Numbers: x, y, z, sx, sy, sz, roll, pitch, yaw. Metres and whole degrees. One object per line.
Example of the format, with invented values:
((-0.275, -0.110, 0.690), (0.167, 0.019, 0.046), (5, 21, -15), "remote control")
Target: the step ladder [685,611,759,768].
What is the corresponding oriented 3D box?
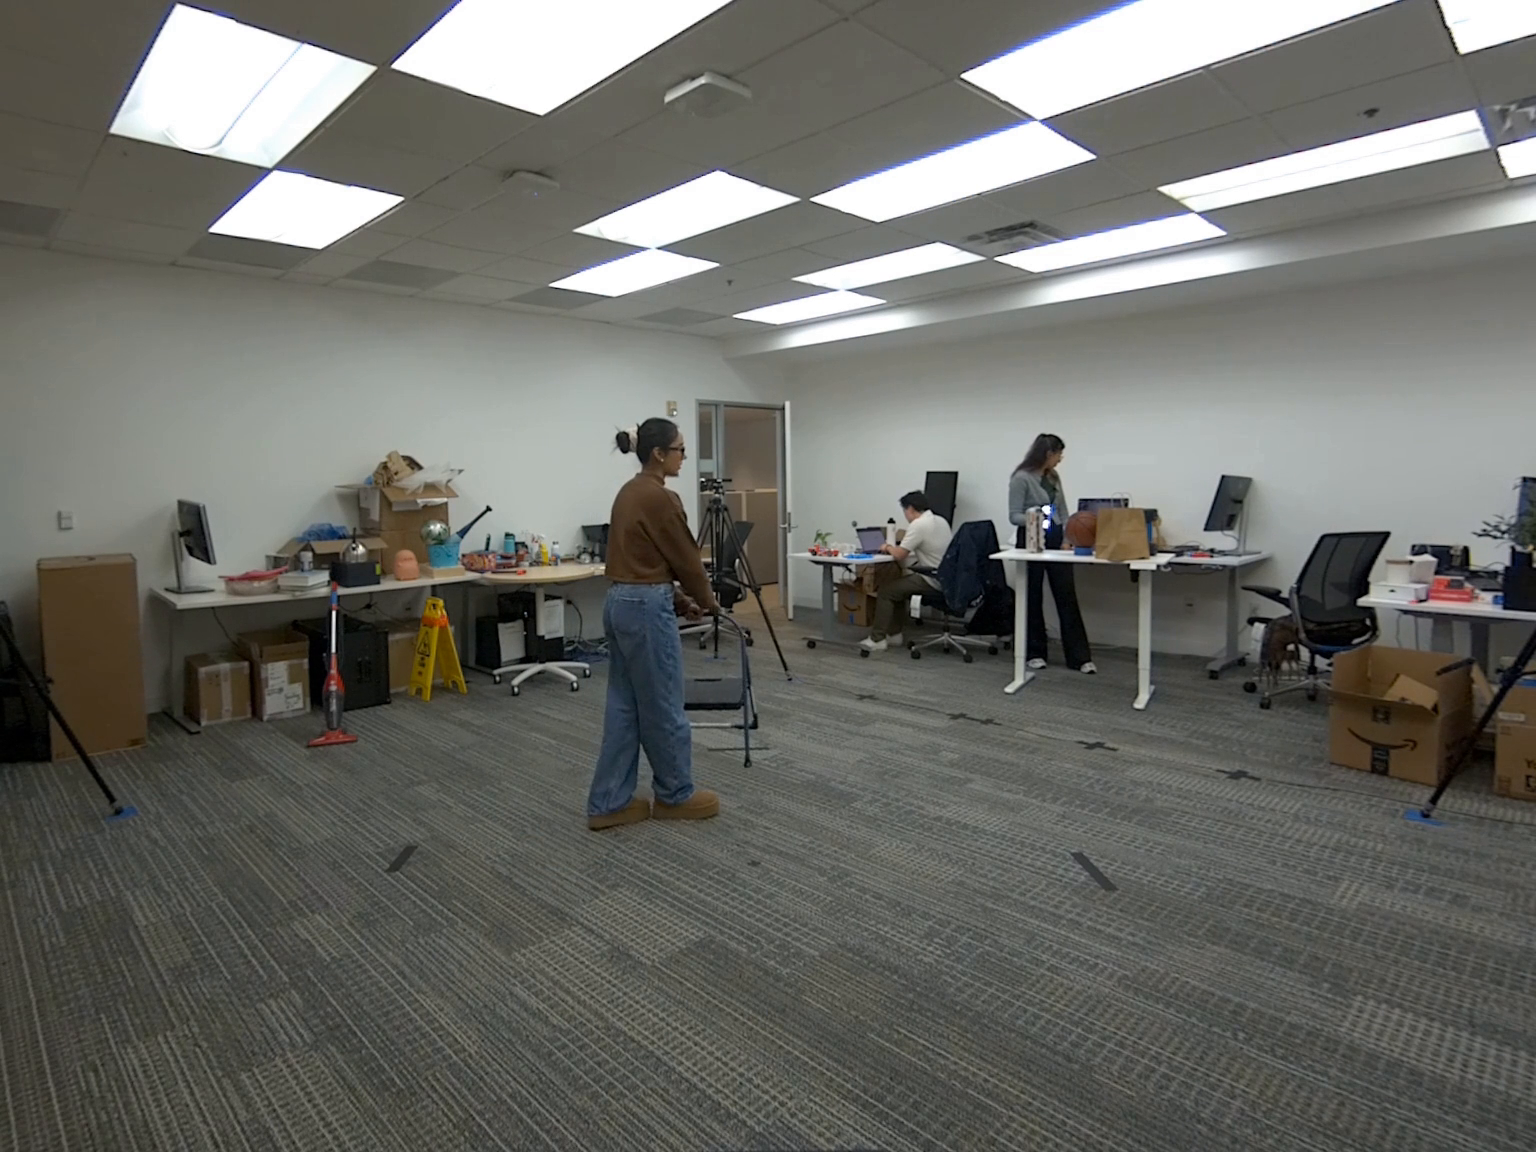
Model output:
((-0.283, 0.481, 3.721), (0.434, 0.596, 0.352), (-2, 17, 7), "step ladder")
